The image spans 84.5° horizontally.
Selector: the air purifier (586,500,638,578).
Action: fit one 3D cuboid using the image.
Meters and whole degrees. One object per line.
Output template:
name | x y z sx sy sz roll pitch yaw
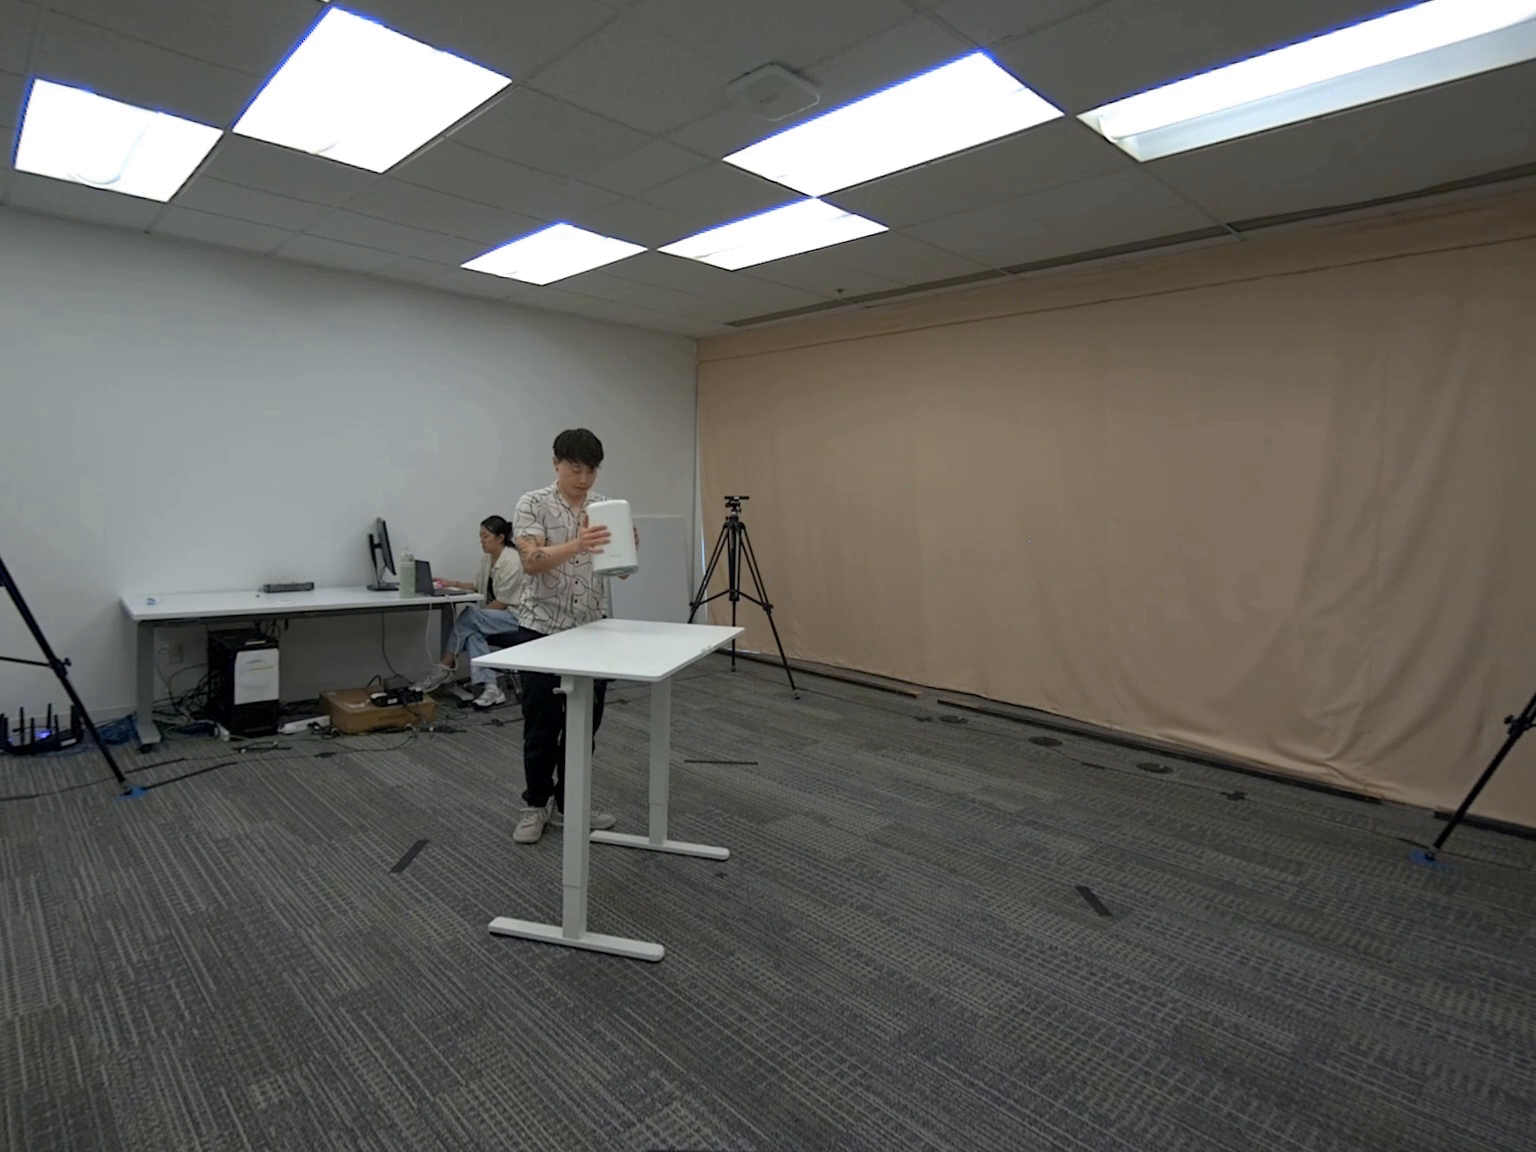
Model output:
air purifier | -0.609 -0.145 3.191 0.170 0.267 0.171 -4 -8 -9
